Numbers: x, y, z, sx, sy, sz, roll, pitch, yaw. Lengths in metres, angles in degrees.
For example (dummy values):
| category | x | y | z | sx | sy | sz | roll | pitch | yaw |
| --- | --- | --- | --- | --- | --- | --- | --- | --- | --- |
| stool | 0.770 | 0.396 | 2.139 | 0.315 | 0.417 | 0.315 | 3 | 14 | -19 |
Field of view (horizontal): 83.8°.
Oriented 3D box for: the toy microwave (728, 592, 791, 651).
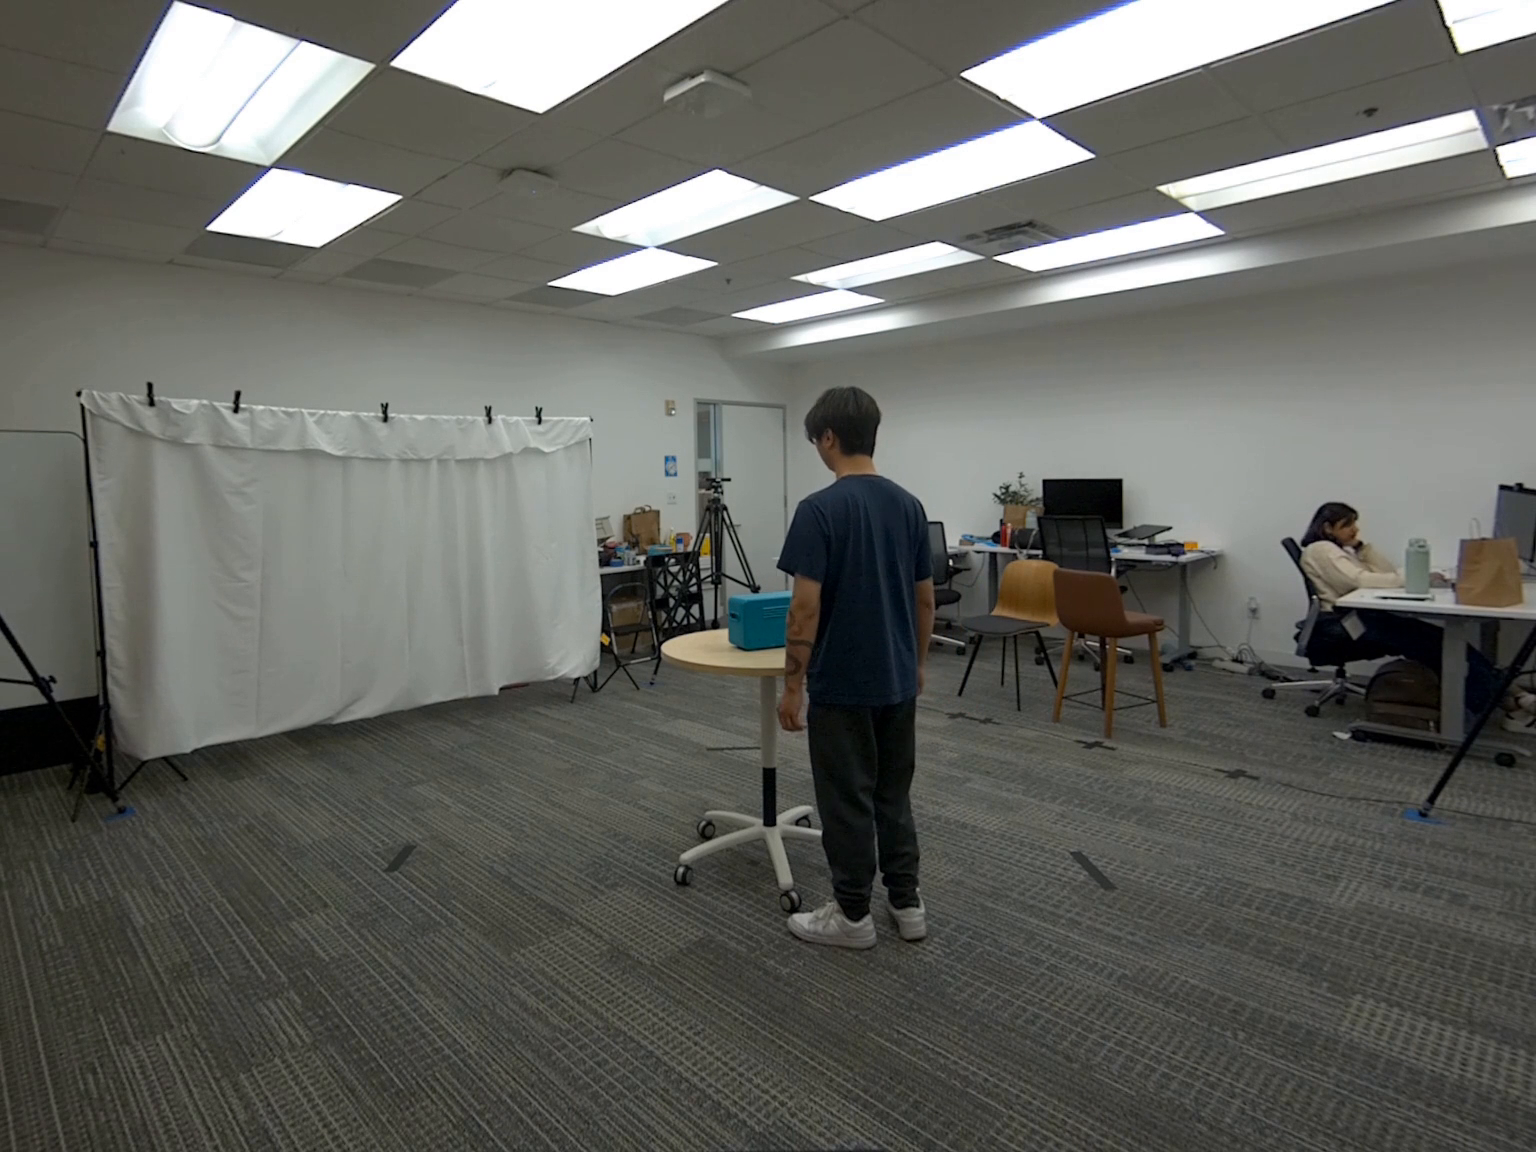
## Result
| category | x | y | z | sx | sy | sz | roll | pitch | yaw |
| --- | --- | --- | --- | --- | --- | --- | --- | --- | --- |
| toy microwave | 0.002 | 0.155 | 3.058 | 0.280 | 0.183 | 0.156 | -4 | 4 | -27 |
